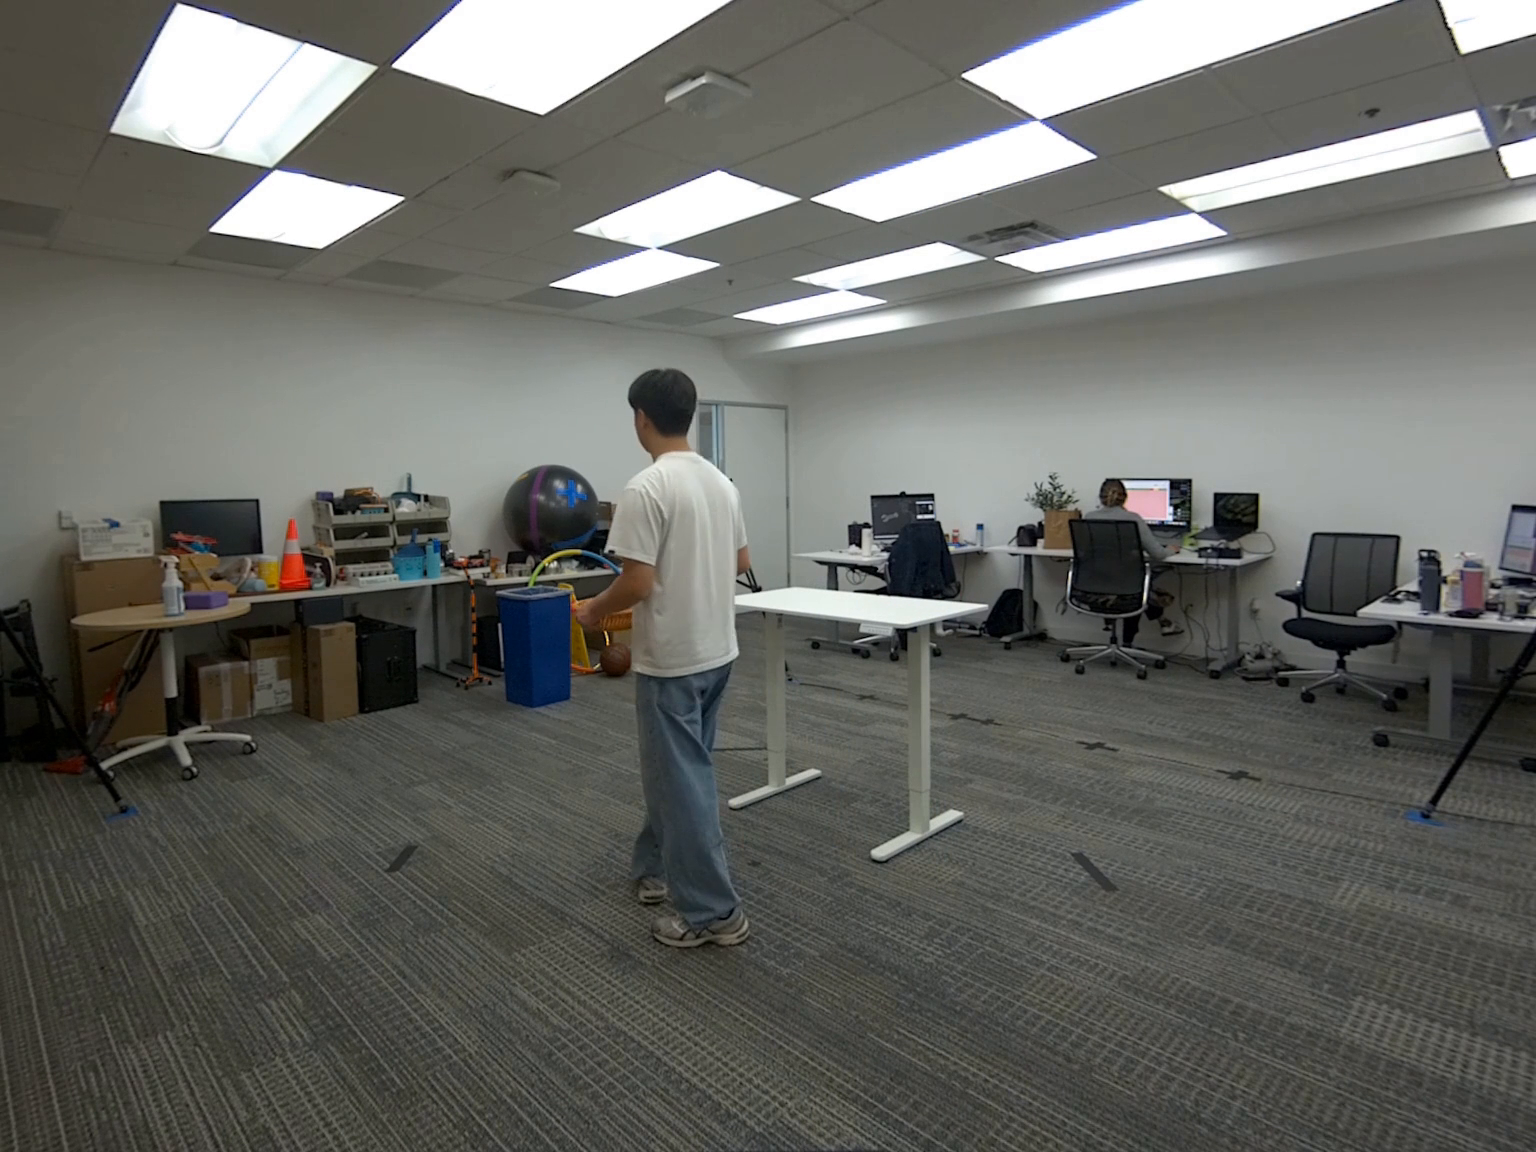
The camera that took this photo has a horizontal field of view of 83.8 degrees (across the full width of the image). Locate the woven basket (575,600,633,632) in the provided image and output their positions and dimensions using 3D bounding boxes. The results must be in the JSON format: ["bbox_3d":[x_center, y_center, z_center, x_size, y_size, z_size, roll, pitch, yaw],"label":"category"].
[{"bbox_3d":[-0.462,0.136,2.796,0.342,0.073,0.260,-3,8,-29],"label":"woven basket"}]
